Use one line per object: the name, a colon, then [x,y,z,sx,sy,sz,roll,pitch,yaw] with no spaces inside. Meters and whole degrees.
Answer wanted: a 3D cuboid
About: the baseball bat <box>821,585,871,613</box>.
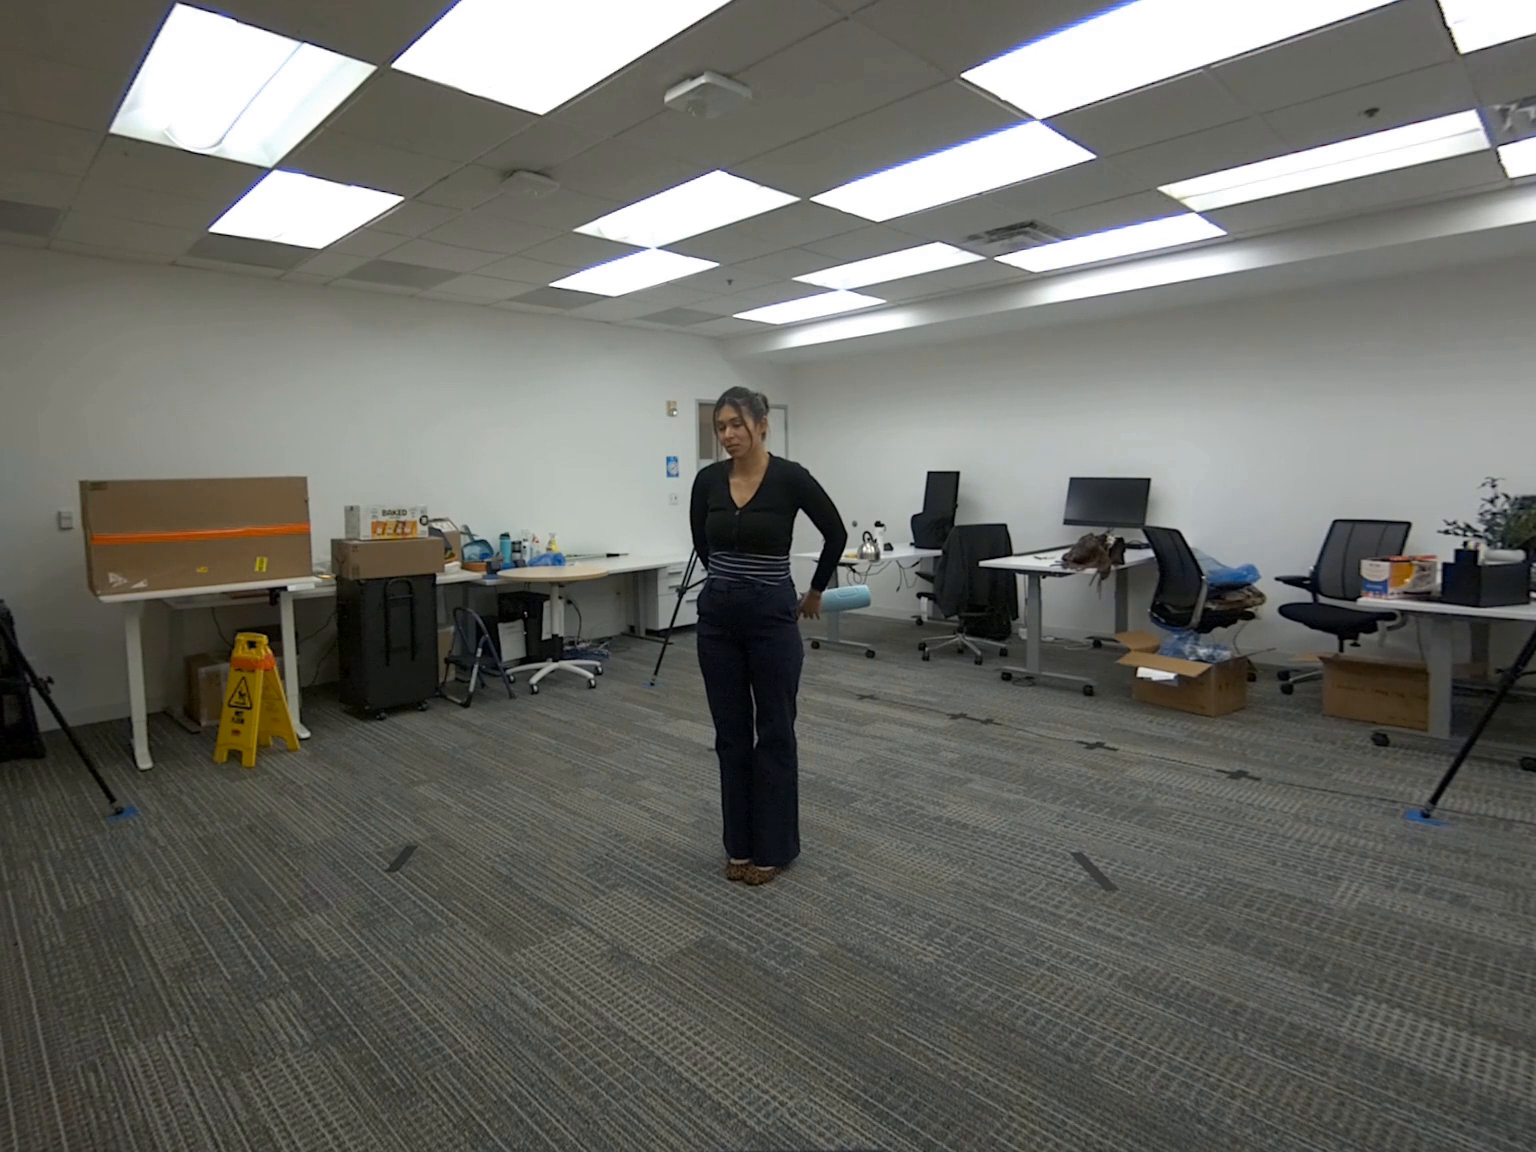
baseball bat: [0.135,0.109,3.272,0.542,0.089,0.089,-8,5,-1]
